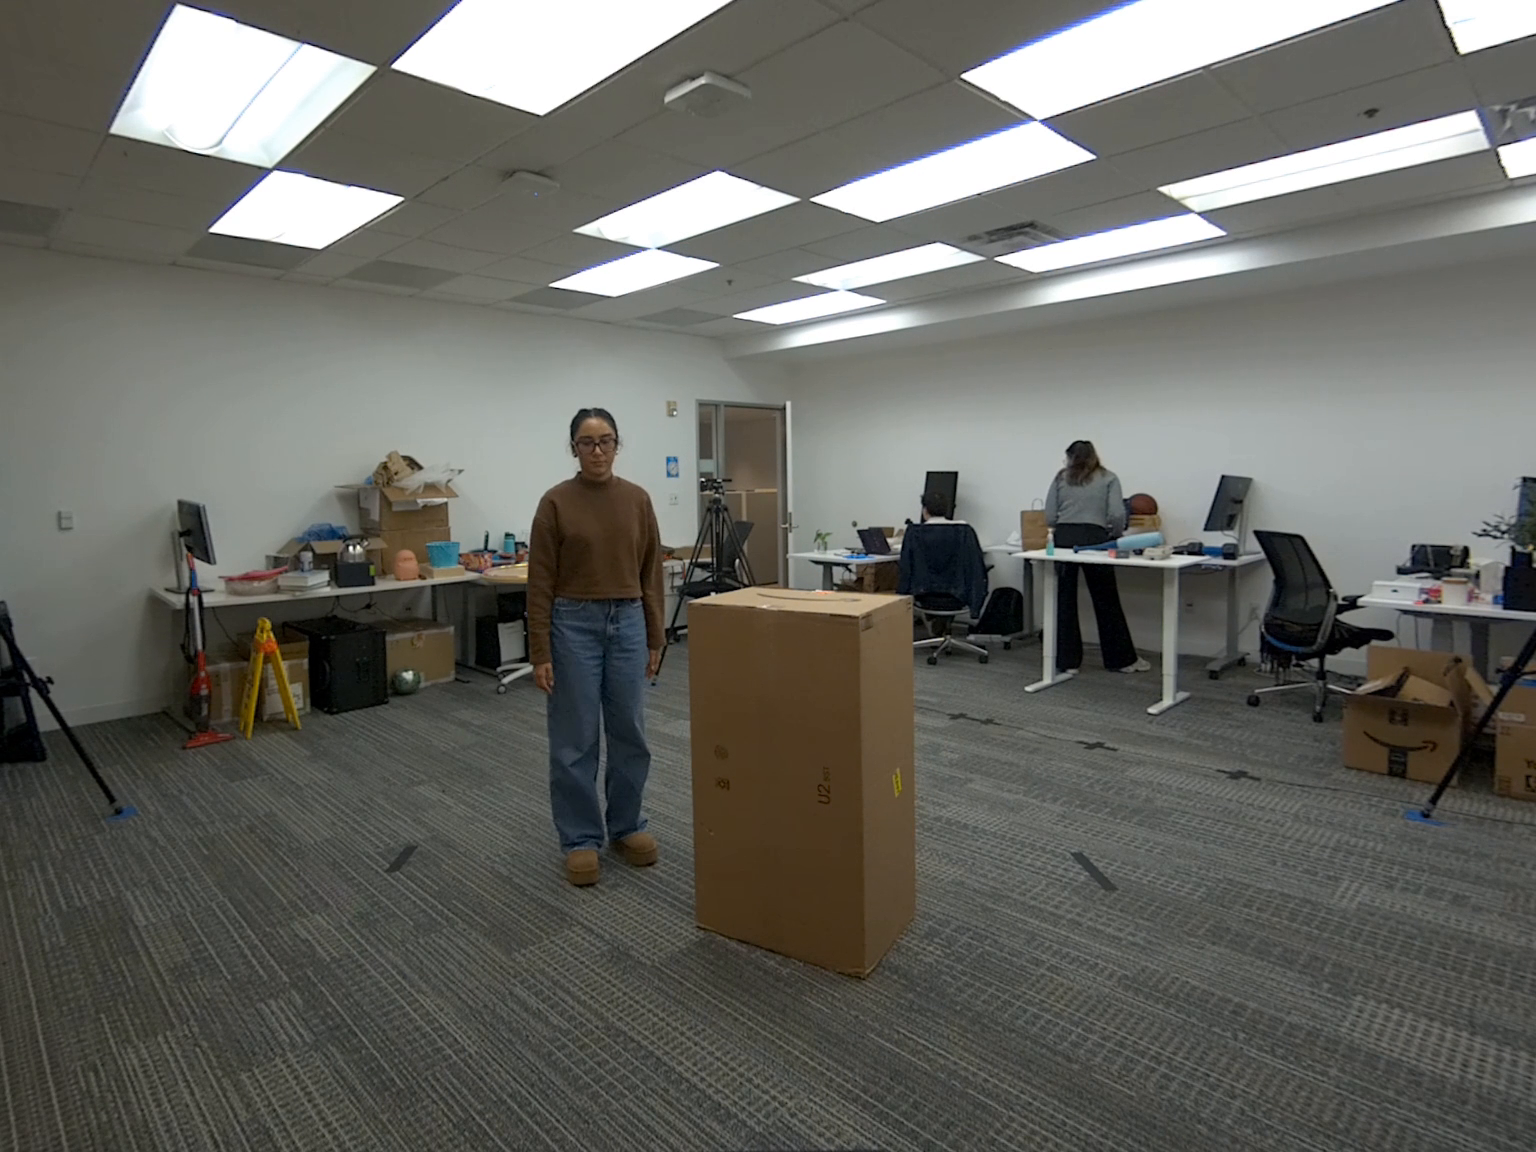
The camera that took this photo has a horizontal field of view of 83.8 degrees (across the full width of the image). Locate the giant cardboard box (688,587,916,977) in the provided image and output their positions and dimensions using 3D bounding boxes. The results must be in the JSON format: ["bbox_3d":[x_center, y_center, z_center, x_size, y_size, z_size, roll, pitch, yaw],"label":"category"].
[{"bbox_3d":[0.114,0.582,2.665,0.593,1.022,0.416,2,5,32],"label":"giant cardboard box"}]
